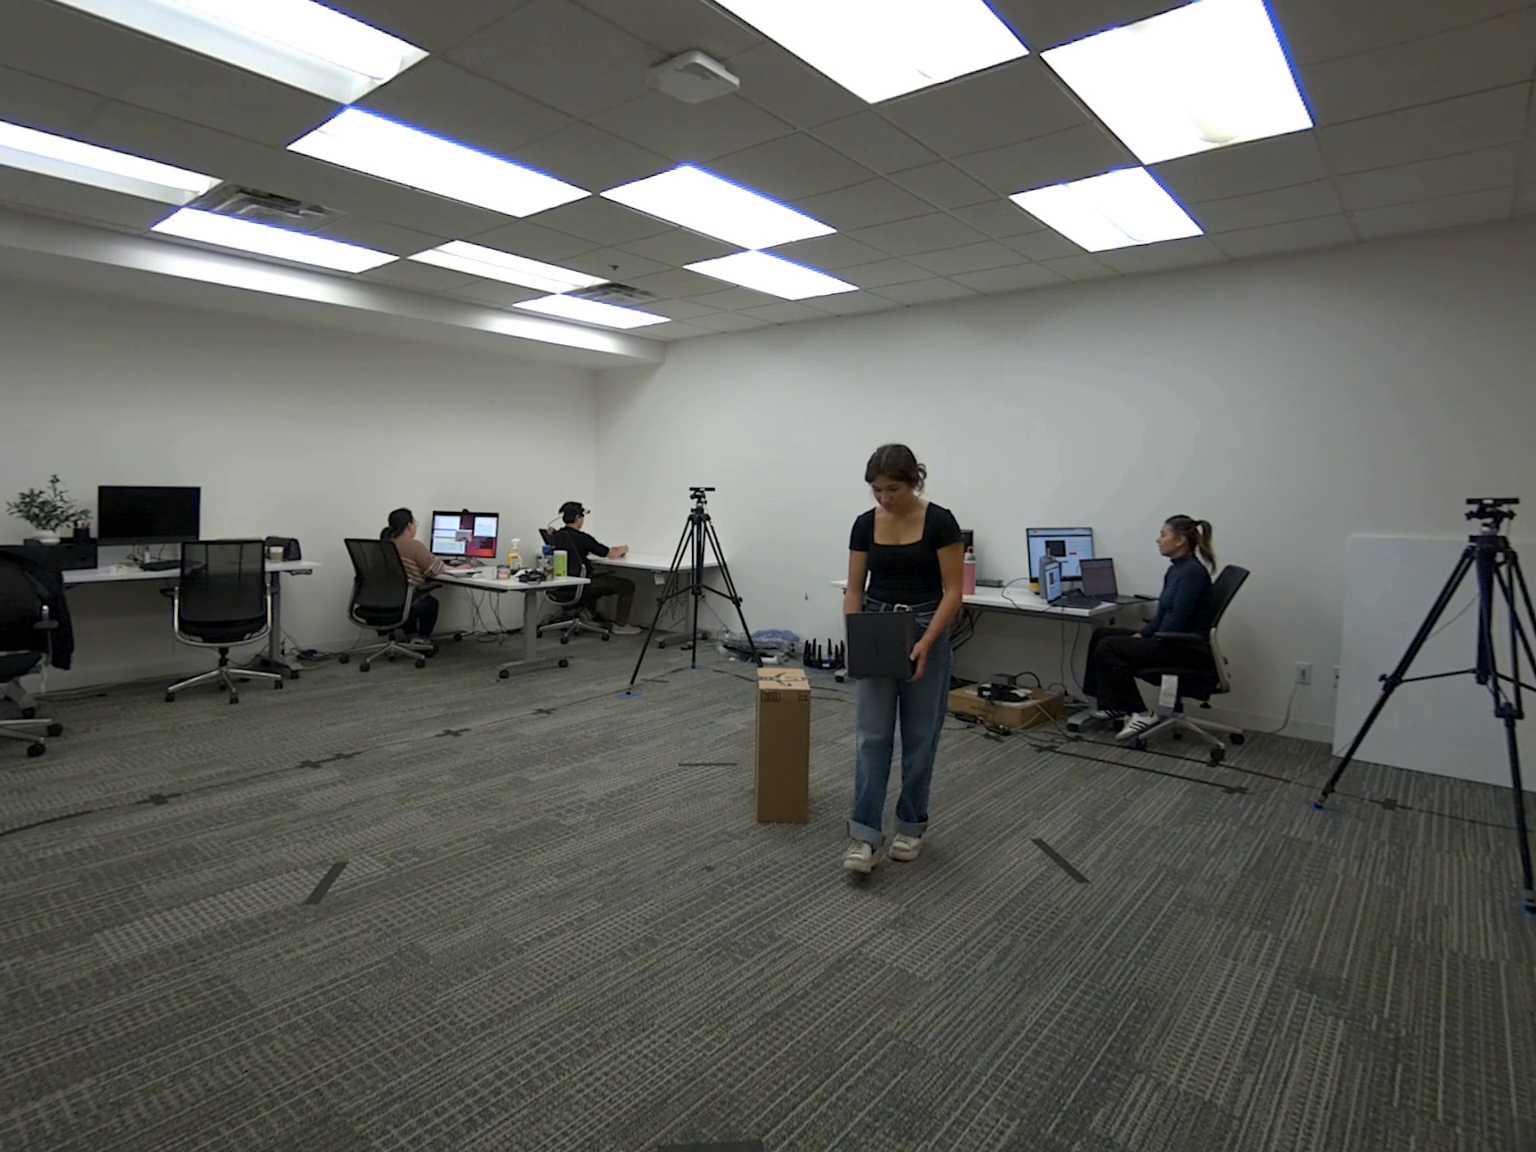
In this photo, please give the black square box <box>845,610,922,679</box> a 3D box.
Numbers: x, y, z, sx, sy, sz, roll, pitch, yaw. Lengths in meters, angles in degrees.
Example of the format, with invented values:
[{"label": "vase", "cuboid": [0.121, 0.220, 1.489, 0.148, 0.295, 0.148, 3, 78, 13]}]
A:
[{"label": "black square box", "cuboid": [0.400, 0.235, 3.057, 0.222, 0.228, 0.152, -4, -2, 25]}]
